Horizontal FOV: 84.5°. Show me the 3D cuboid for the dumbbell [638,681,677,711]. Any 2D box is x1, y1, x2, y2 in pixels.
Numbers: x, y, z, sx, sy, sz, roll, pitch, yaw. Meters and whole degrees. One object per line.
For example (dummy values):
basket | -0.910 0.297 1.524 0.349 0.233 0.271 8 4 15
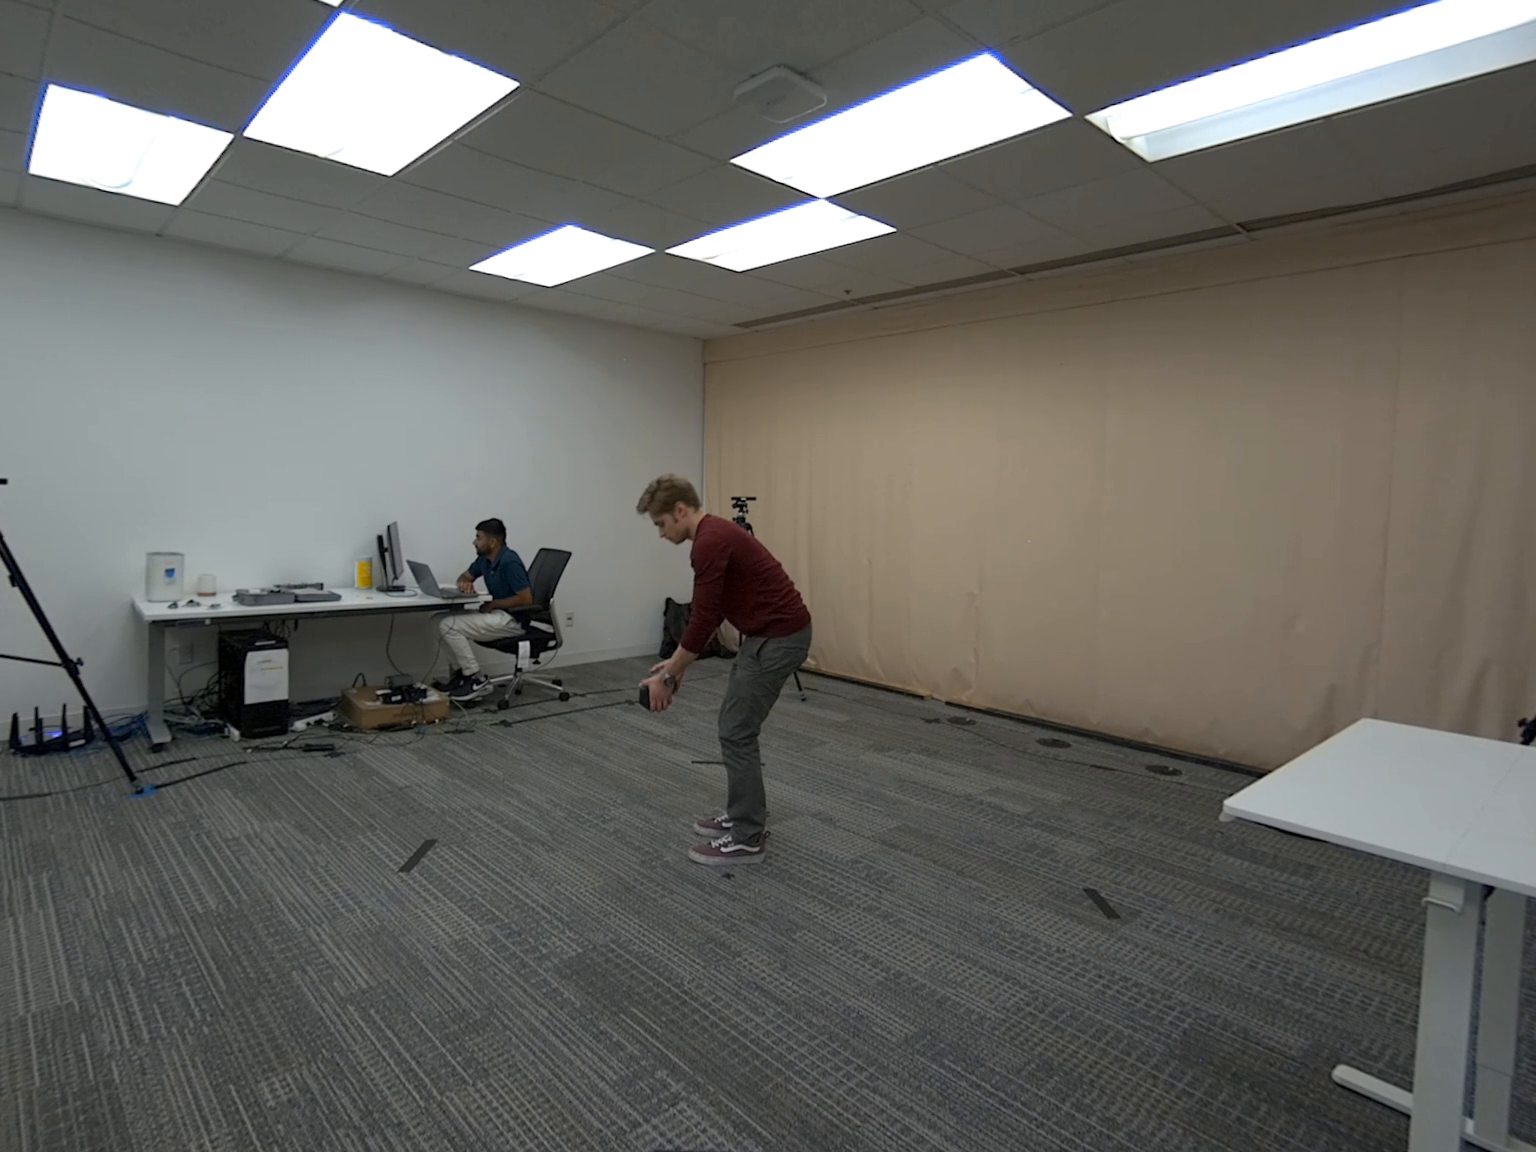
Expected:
dumbbell | -0.442 0.458 3.360 0.123 0.108 0.293 -20 3 8
